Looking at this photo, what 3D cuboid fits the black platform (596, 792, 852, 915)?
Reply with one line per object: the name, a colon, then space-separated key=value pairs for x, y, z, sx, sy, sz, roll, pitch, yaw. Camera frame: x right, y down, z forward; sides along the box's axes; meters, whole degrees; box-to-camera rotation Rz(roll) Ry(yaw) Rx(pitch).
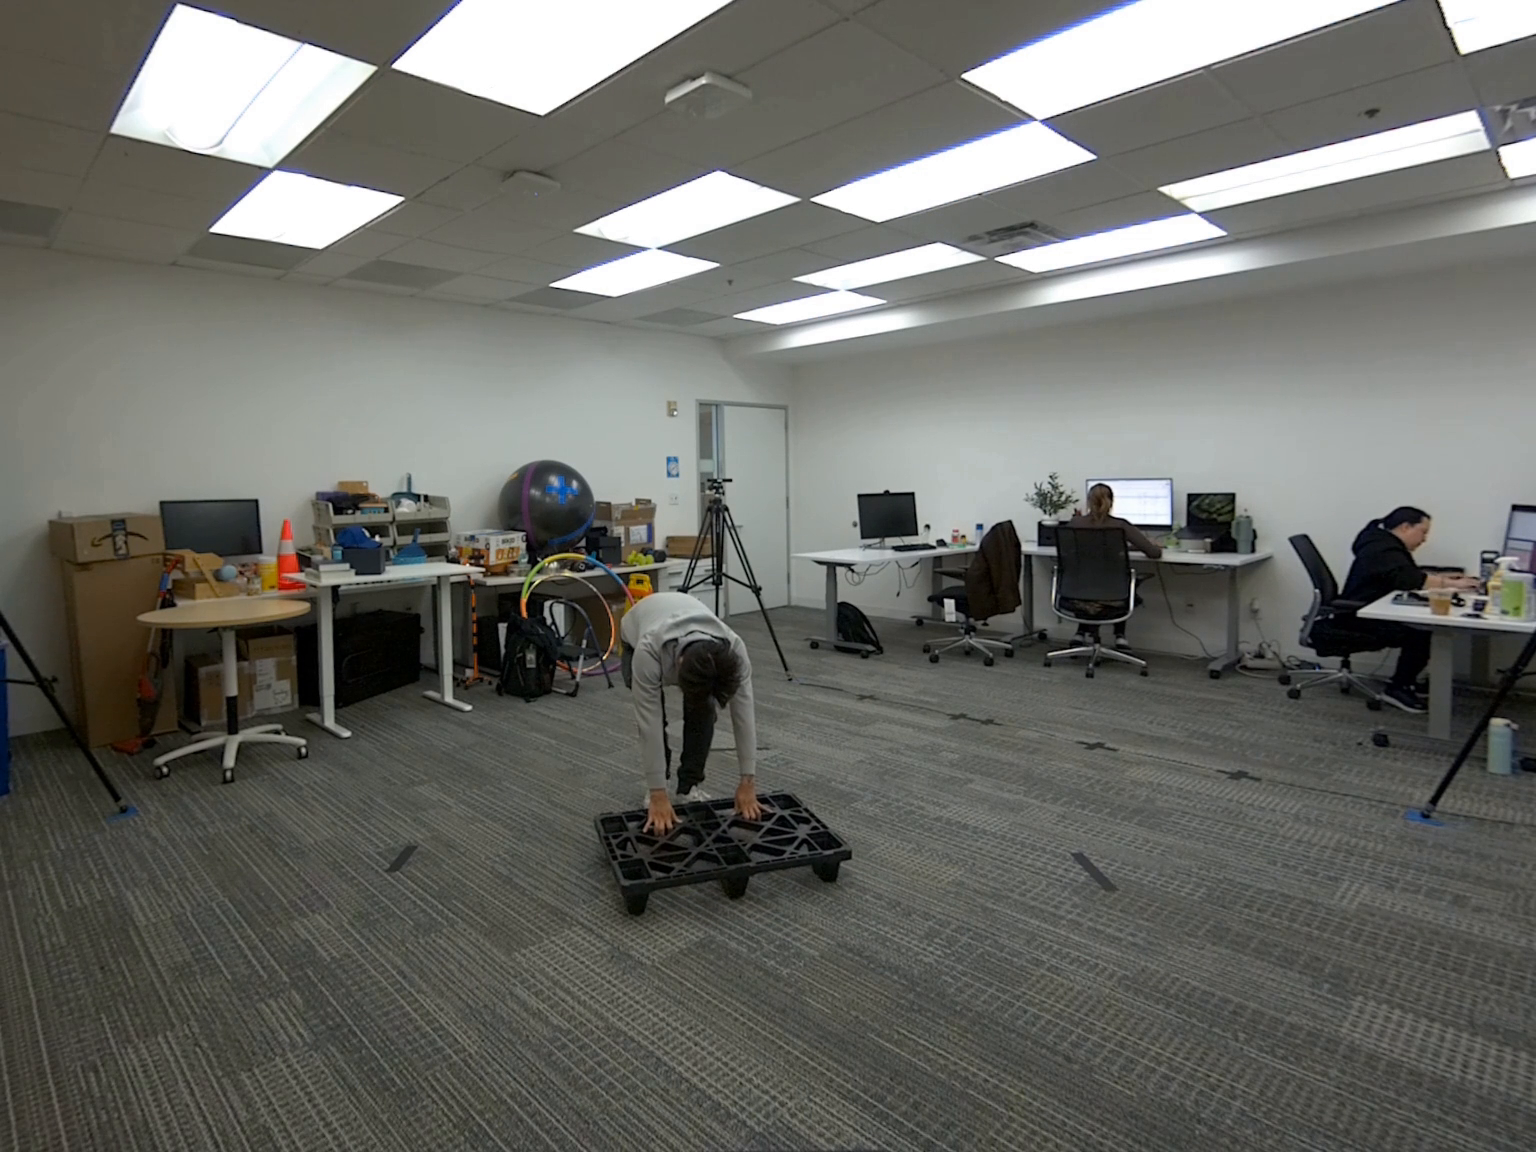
black platform: x=-0.185 y=0.982 z=3.076 sx=0.793 sy=0.143 sz=0.617 roll=-3 pitch=6 yaw=-18
